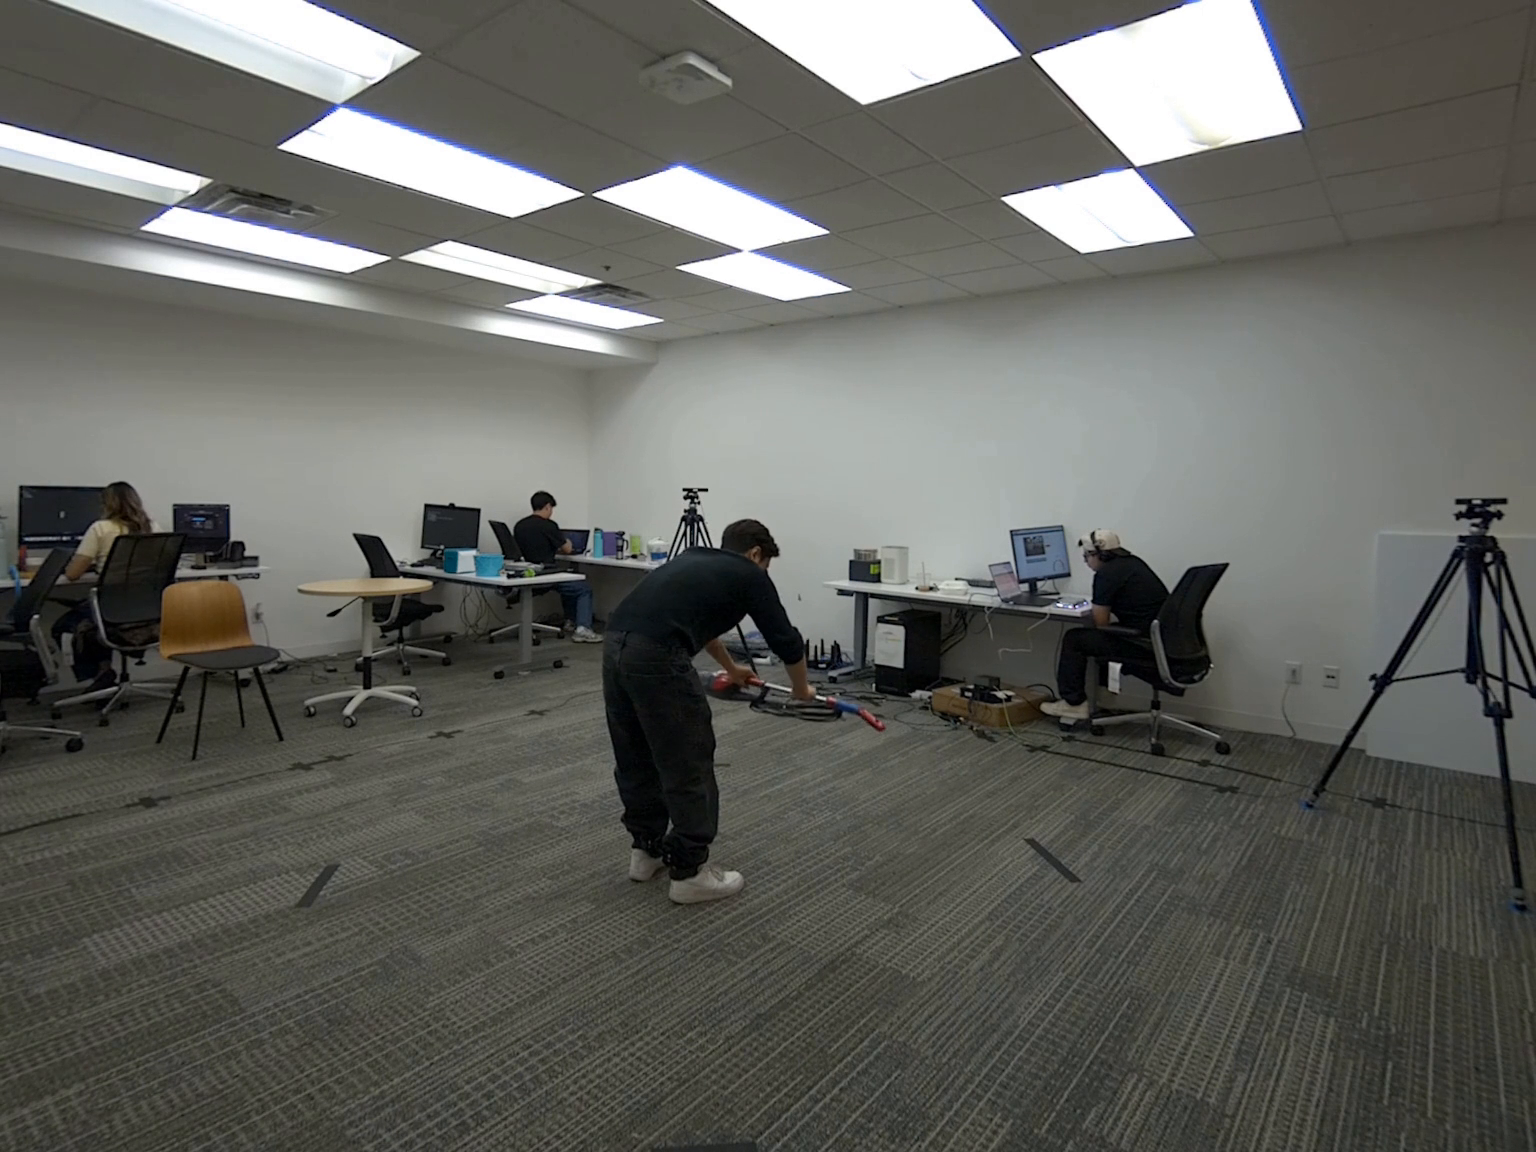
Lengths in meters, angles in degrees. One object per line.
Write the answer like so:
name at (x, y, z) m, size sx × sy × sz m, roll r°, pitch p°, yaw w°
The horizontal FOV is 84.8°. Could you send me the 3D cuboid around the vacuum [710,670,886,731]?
vacuum at (-0.014, 0.476, 3.358) m, size 1.087 × 0.142 × 0.247 m, roll 9°, pitch 18°, yaw 41°
